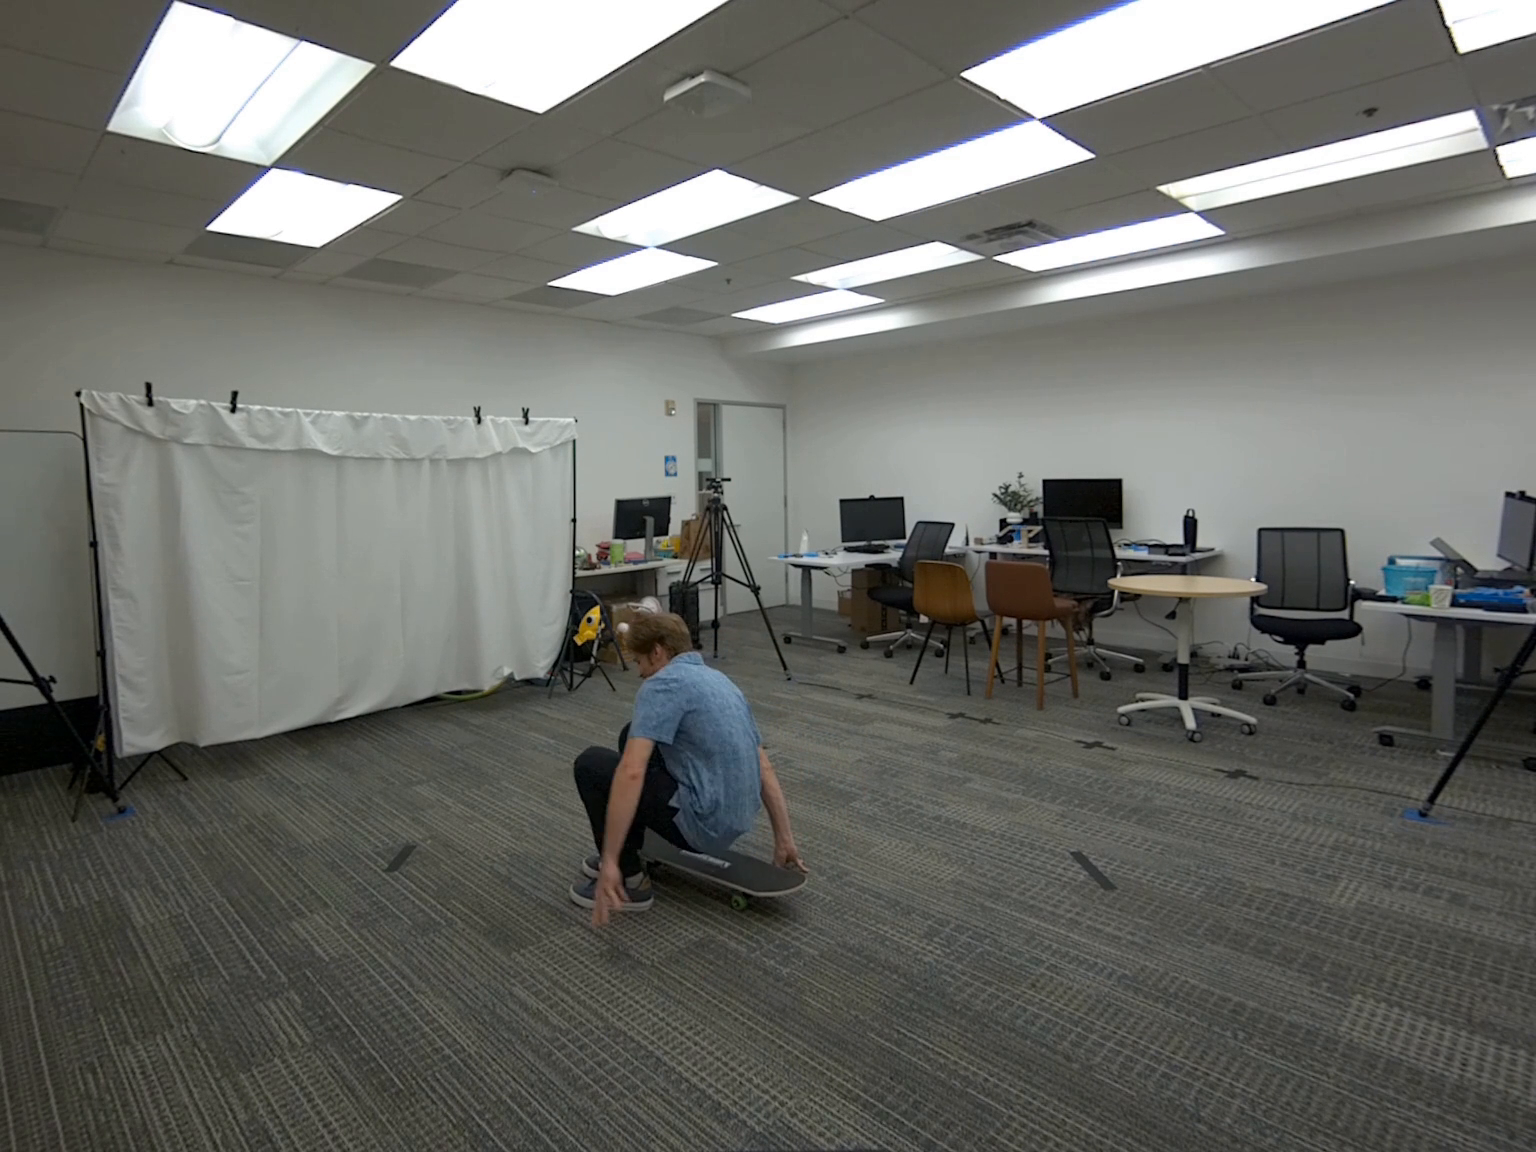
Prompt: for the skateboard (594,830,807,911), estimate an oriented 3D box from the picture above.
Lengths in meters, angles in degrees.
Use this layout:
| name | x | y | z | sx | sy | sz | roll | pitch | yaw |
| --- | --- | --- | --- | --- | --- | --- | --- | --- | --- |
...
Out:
| name | x | y | z | sx | sy | sz | roll | pitch | yaw |
| --- | --- | --- | --- | --- | --- | --- | --- | --- | --- |
| skateboard | -0.219 | 1.008 | 2.945 | 0.808 | 0.110 | 0.189 | 4 | 8 | 36 |
